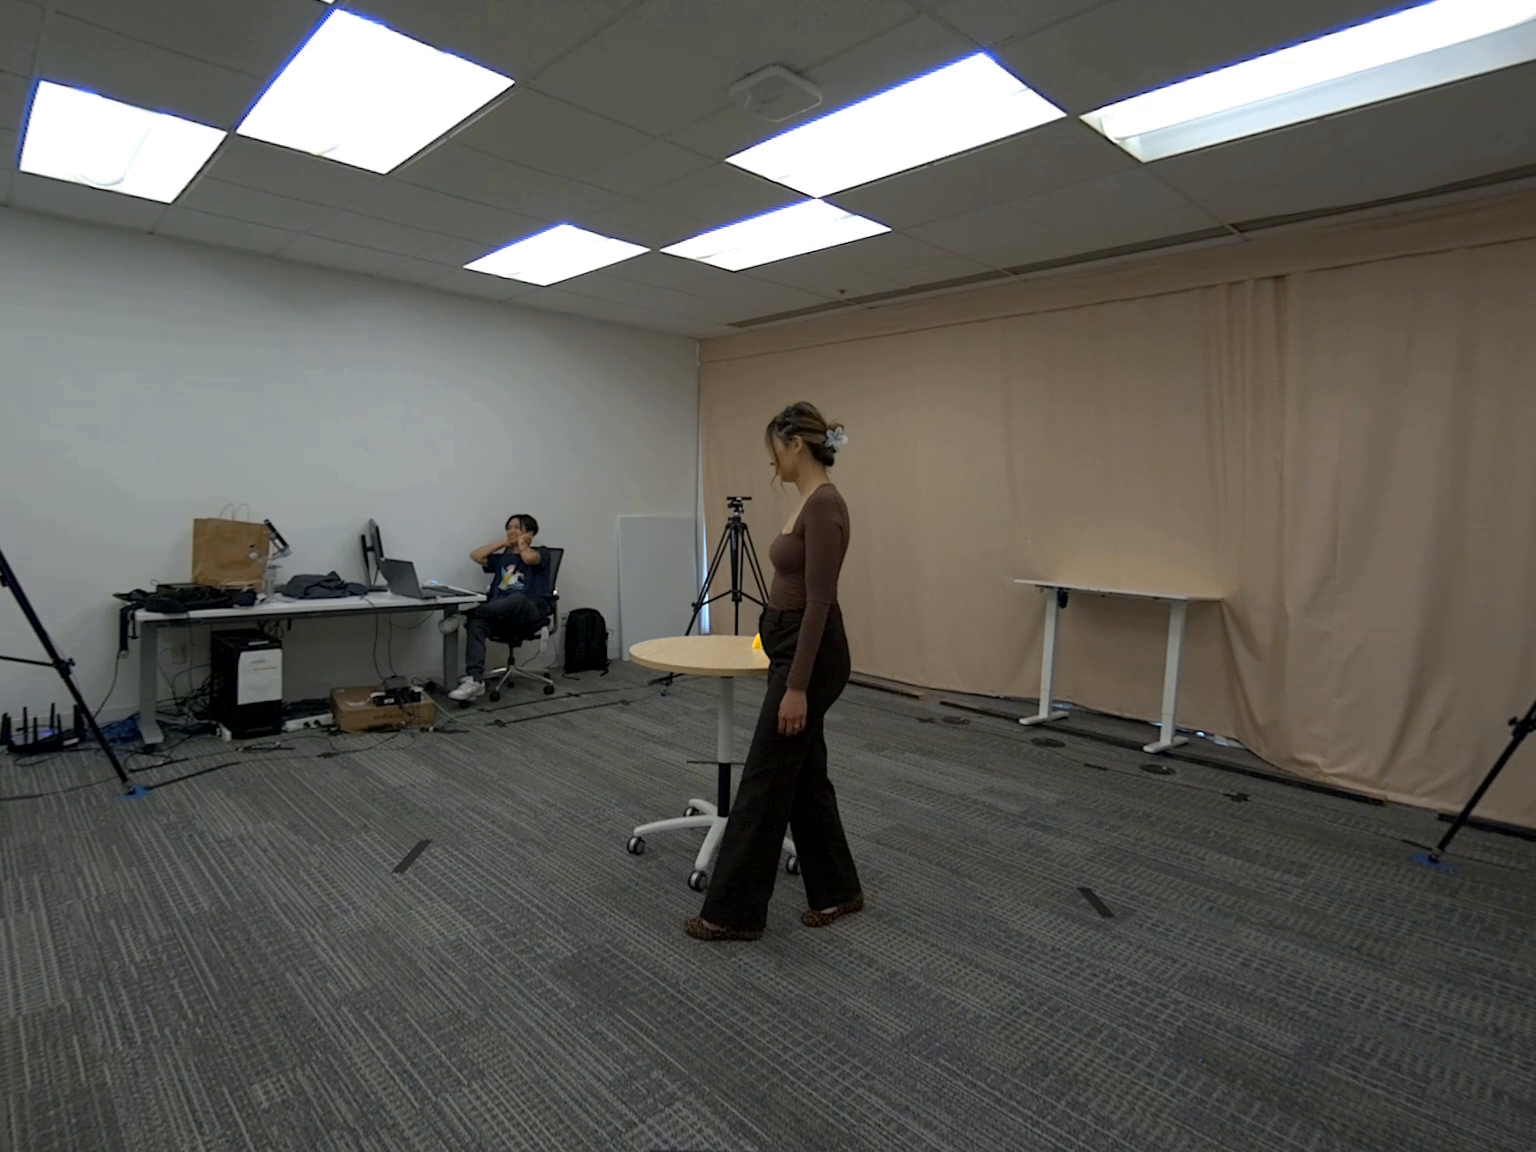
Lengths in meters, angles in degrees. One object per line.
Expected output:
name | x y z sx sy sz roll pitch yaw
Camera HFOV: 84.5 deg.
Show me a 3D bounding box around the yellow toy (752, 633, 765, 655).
yellow toy | 0.046 0.178 3.378 0.210 0.230 0.189 4 5 41
